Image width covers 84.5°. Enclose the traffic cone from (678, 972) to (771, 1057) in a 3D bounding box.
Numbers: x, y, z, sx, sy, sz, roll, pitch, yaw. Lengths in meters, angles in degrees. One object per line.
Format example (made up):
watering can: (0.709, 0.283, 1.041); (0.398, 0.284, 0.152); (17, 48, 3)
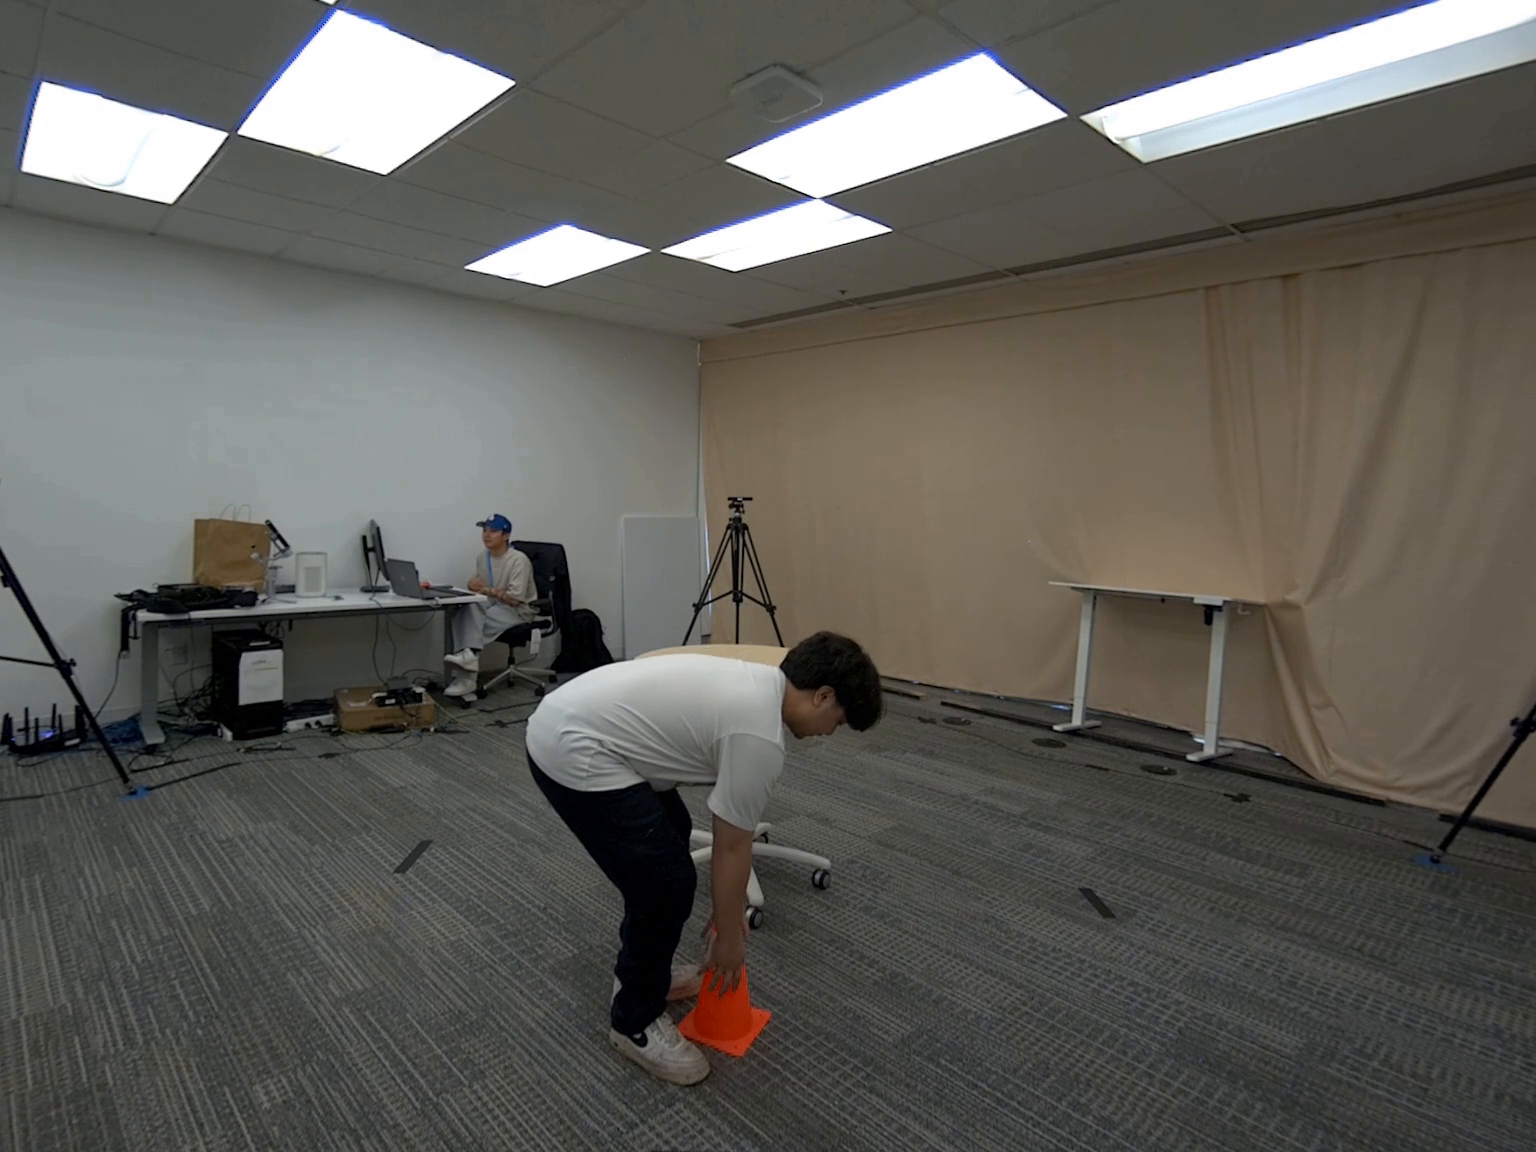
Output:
traffic cone: (-0.123, 1.013, 2.204); (0.208, 0.382, 0.201); (4, 6, 35)
